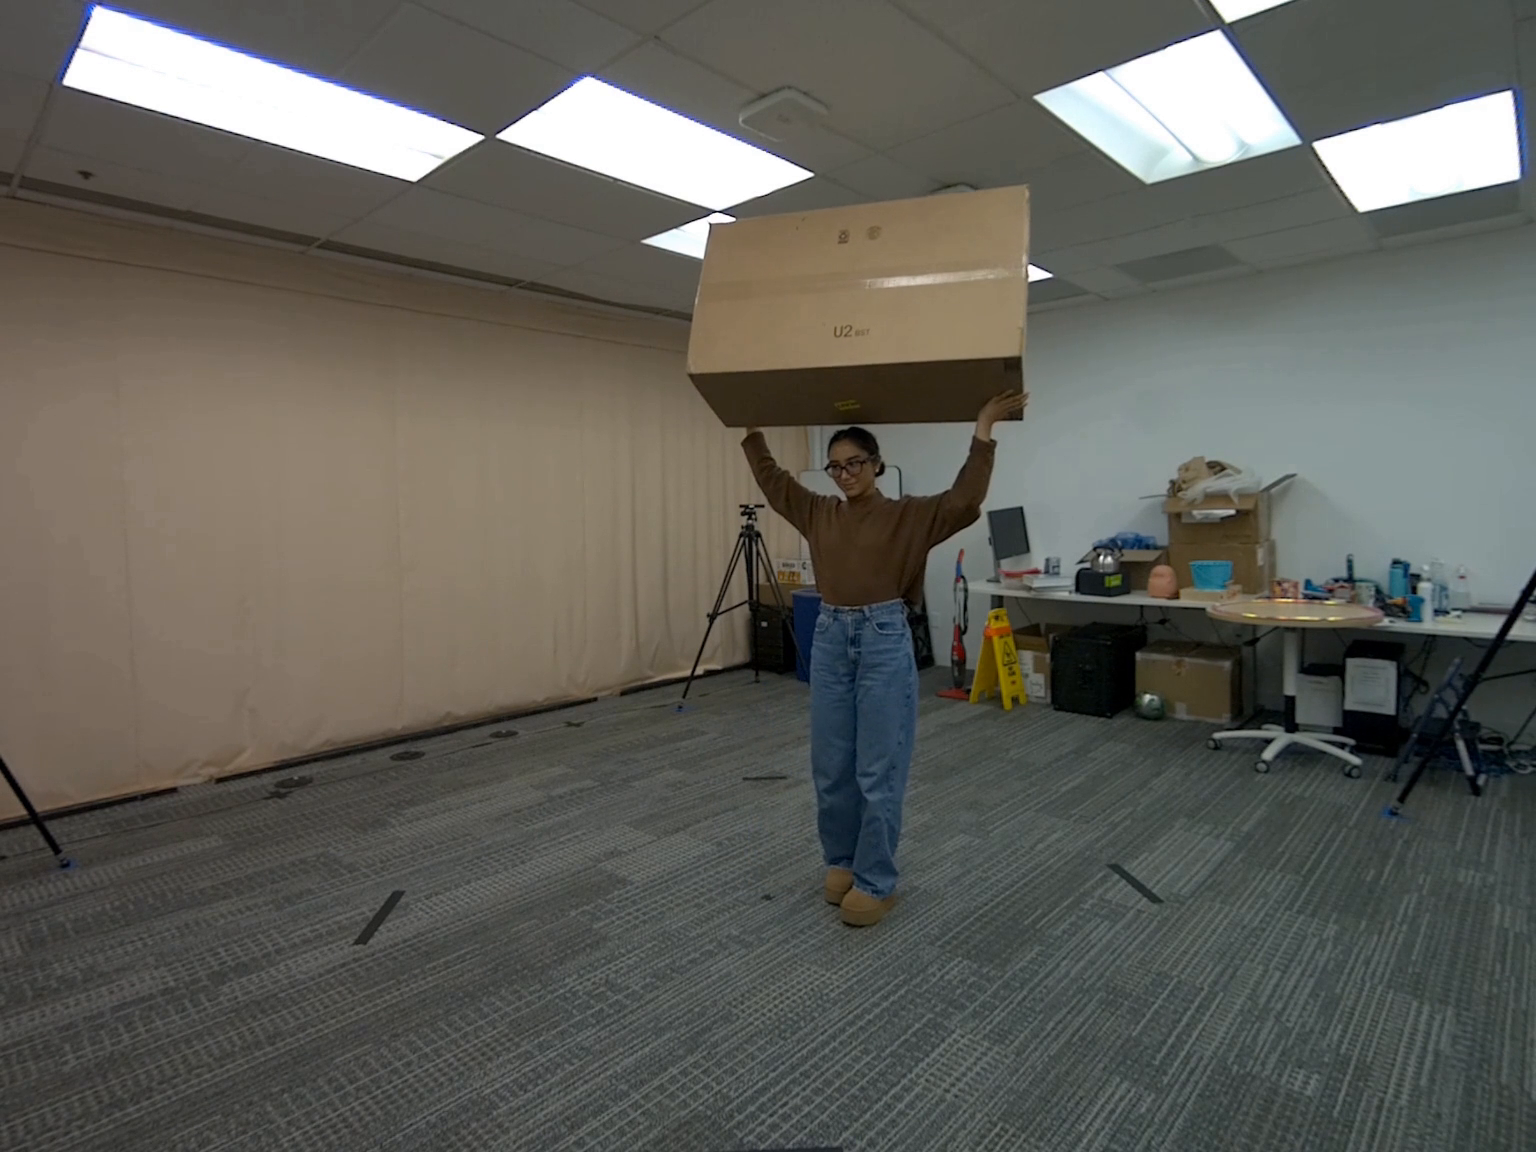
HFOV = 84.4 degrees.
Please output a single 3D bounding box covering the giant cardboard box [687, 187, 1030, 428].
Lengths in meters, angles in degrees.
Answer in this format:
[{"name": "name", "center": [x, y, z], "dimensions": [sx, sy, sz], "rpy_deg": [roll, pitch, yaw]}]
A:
[{"name": "giant cardboard box", "center": [0.315, -0.845, 2.782], "dimensions": [1.048, 0.582, 0.414], "rpy_deg": [2, -16, 20]}]
